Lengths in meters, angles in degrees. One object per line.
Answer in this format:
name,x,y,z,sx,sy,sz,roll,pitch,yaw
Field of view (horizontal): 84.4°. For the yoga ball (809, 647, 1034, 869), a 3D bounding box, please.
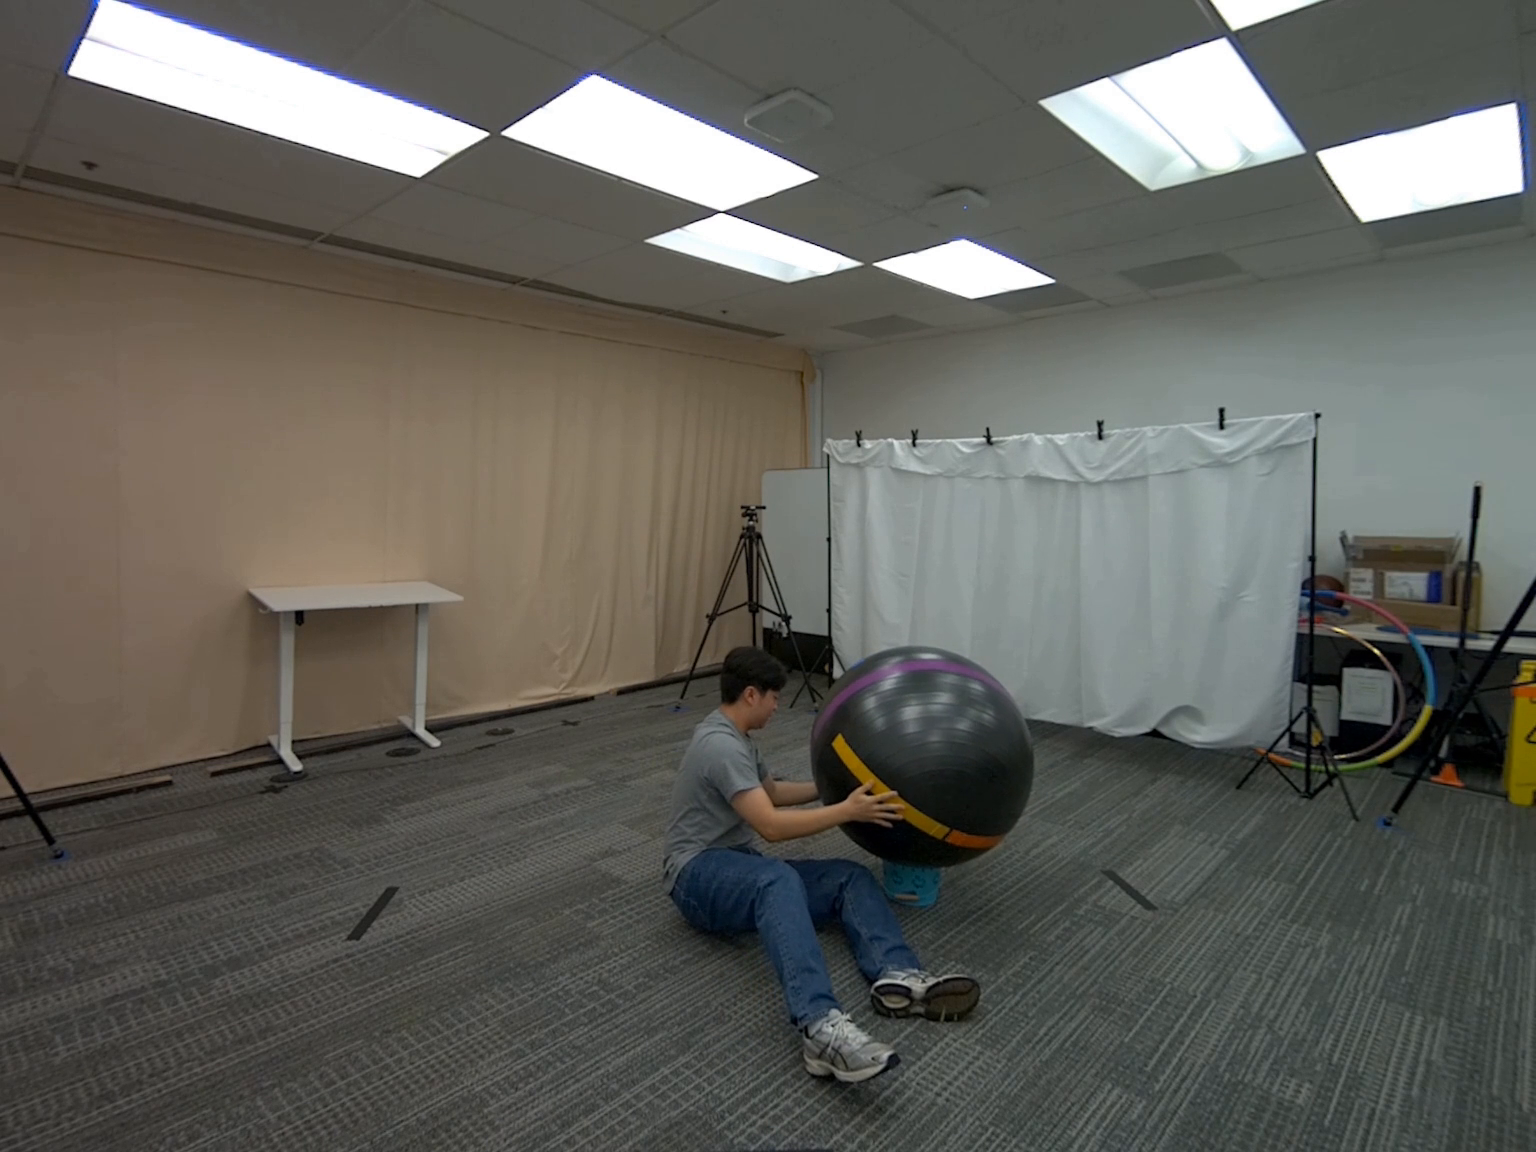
yoga ball,0.537,0.634,2.965,0.757,0.756,0.761,0,4,-2
